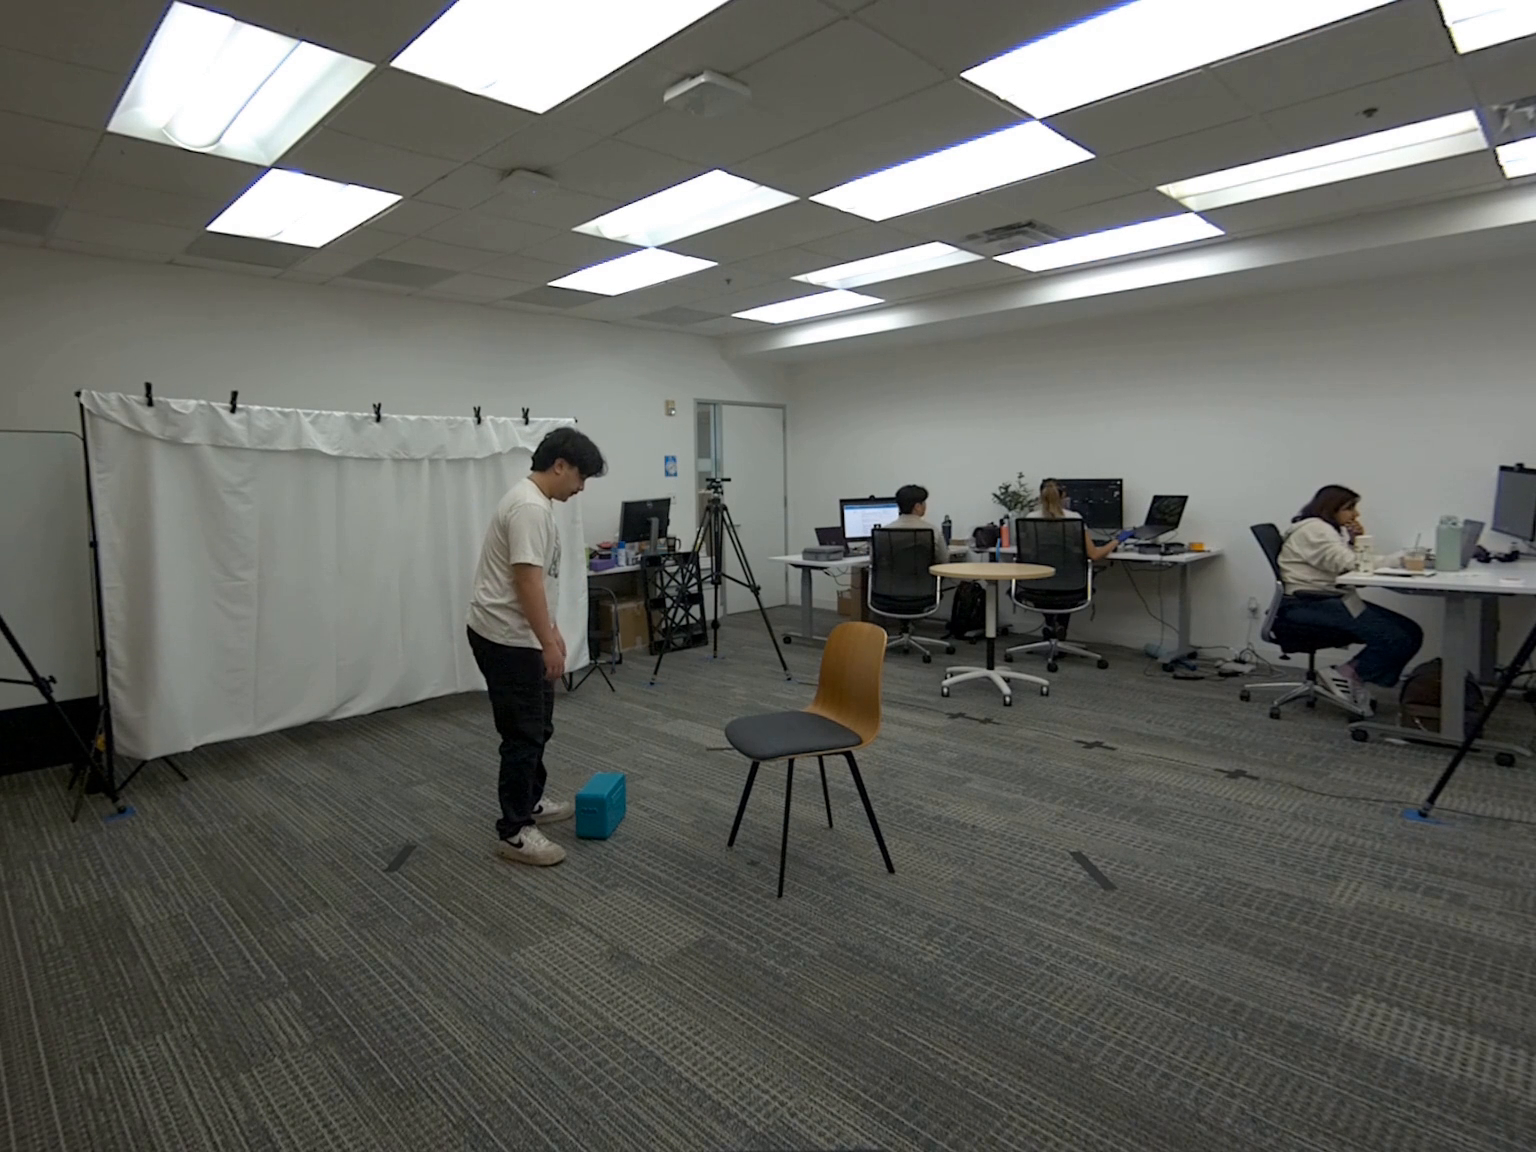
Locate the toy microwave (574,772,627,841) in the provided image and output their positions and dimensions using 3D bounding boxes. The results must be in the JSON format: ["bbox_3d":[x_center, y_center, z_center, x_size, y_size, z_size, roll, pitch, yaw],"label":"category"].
[{"bbox_3d":[-0.679,0.922,3.451,0.154,0.183,0.285,2,5,7],"label":"toy microwave"}]
